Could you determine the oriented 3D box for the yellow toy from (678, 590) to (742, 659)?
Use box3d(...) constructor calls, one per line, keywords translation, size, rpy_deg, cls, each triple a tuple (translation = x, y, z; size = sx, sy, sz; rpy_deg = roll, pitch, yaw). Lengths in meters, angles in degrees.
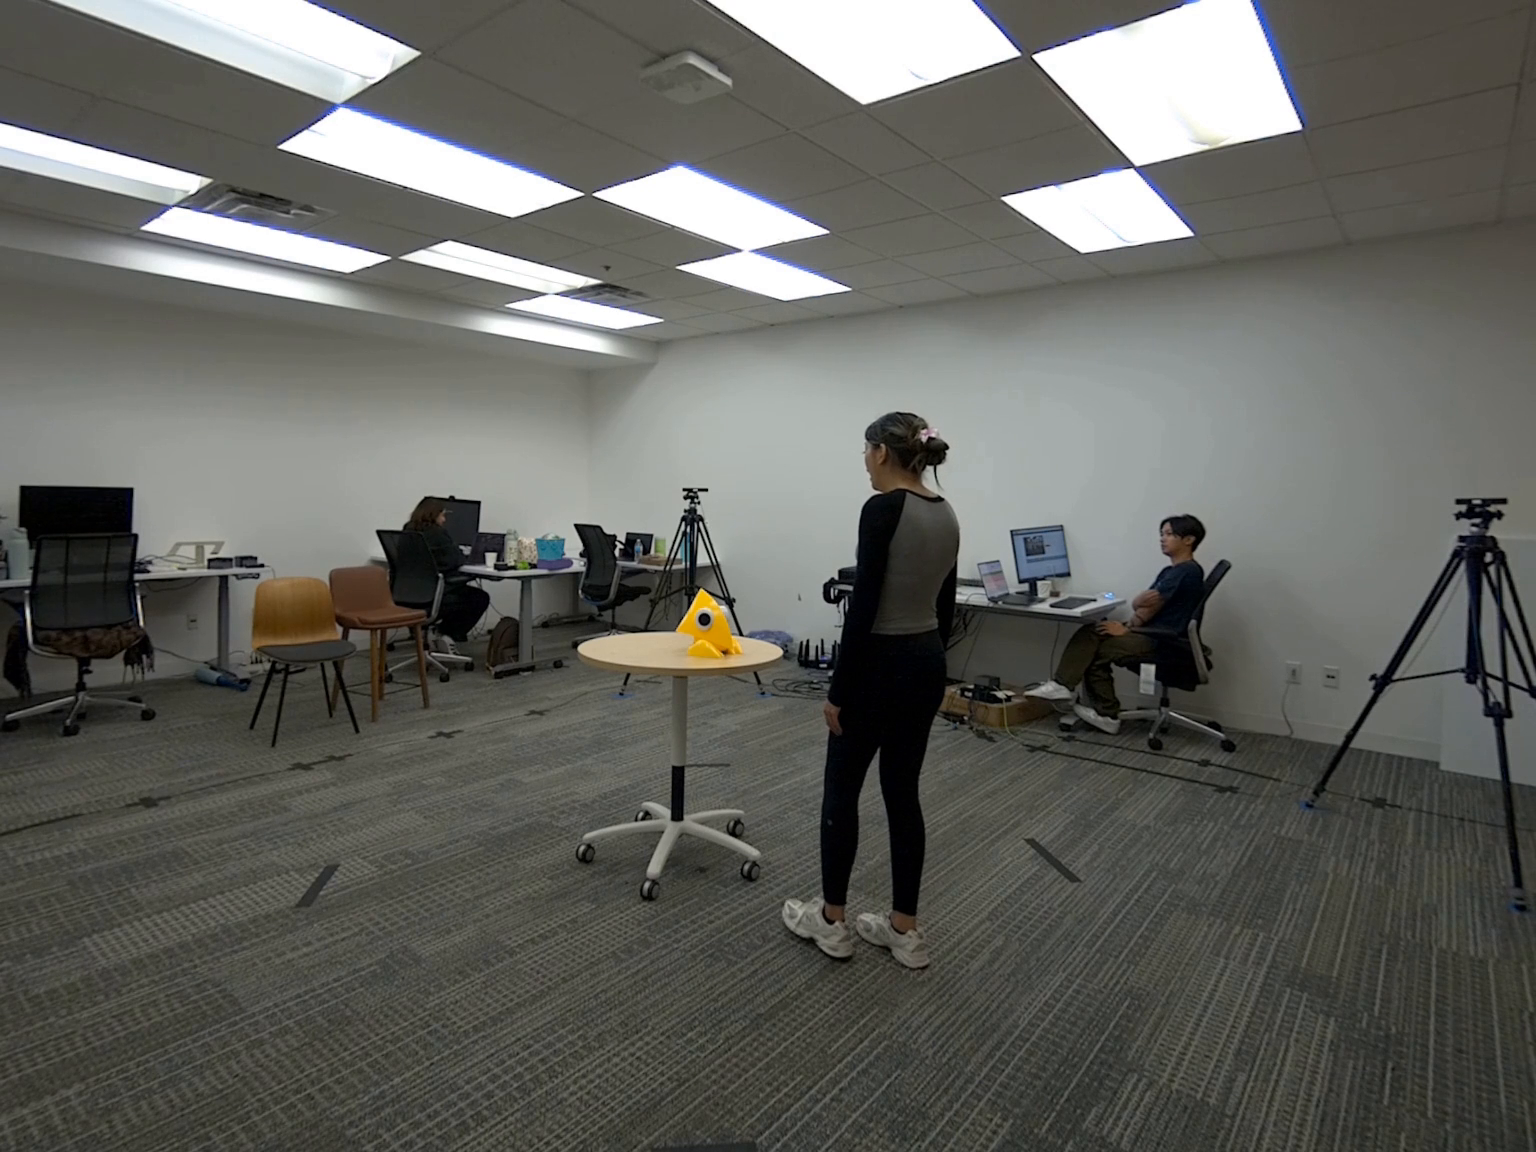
box3d(translation=(-0.211, 0.163, 3.106), size=(0.199, 0.230, 0.199), rpy_deg=(4, 4, 37), cls="yellow toy")
